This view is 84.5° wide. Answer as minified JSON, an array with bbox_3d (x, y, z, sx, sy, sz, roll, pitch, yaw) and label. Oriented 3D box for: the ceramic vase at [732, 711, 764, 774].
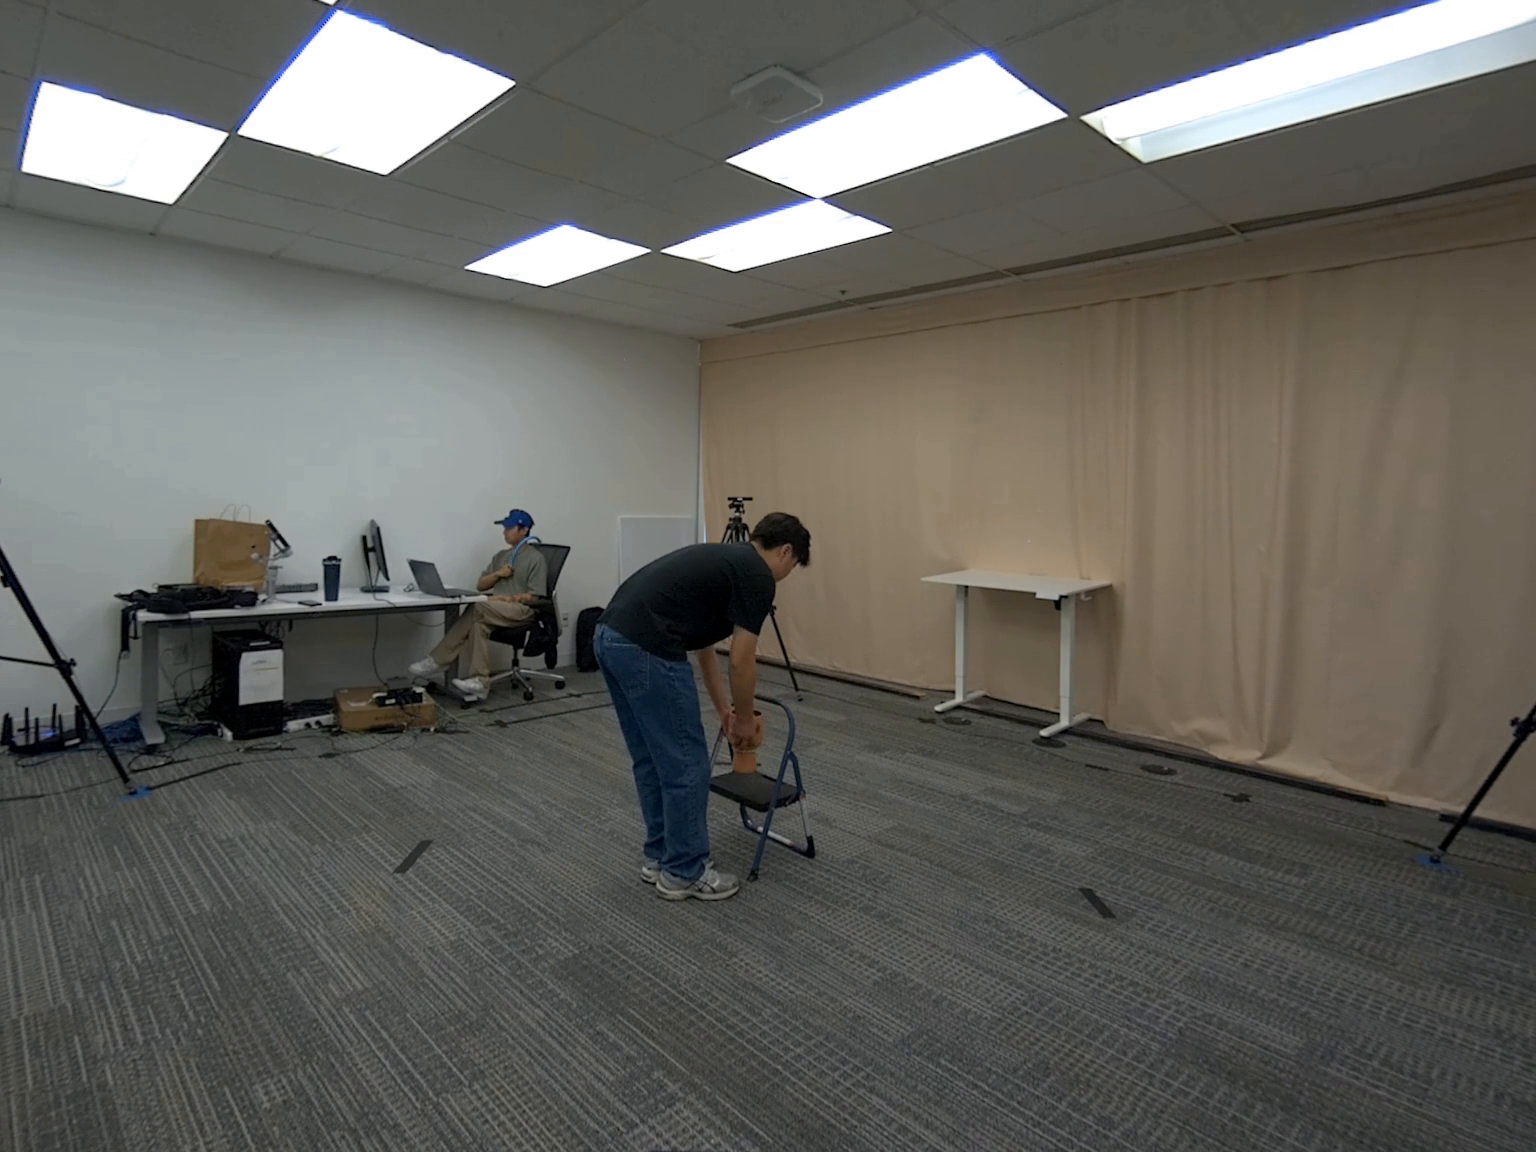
[{"bbox_3d":[-0.088,0.636,3.231,0.138,0.219,0.155,5,5,35],"label":"ceramic vase"}]
